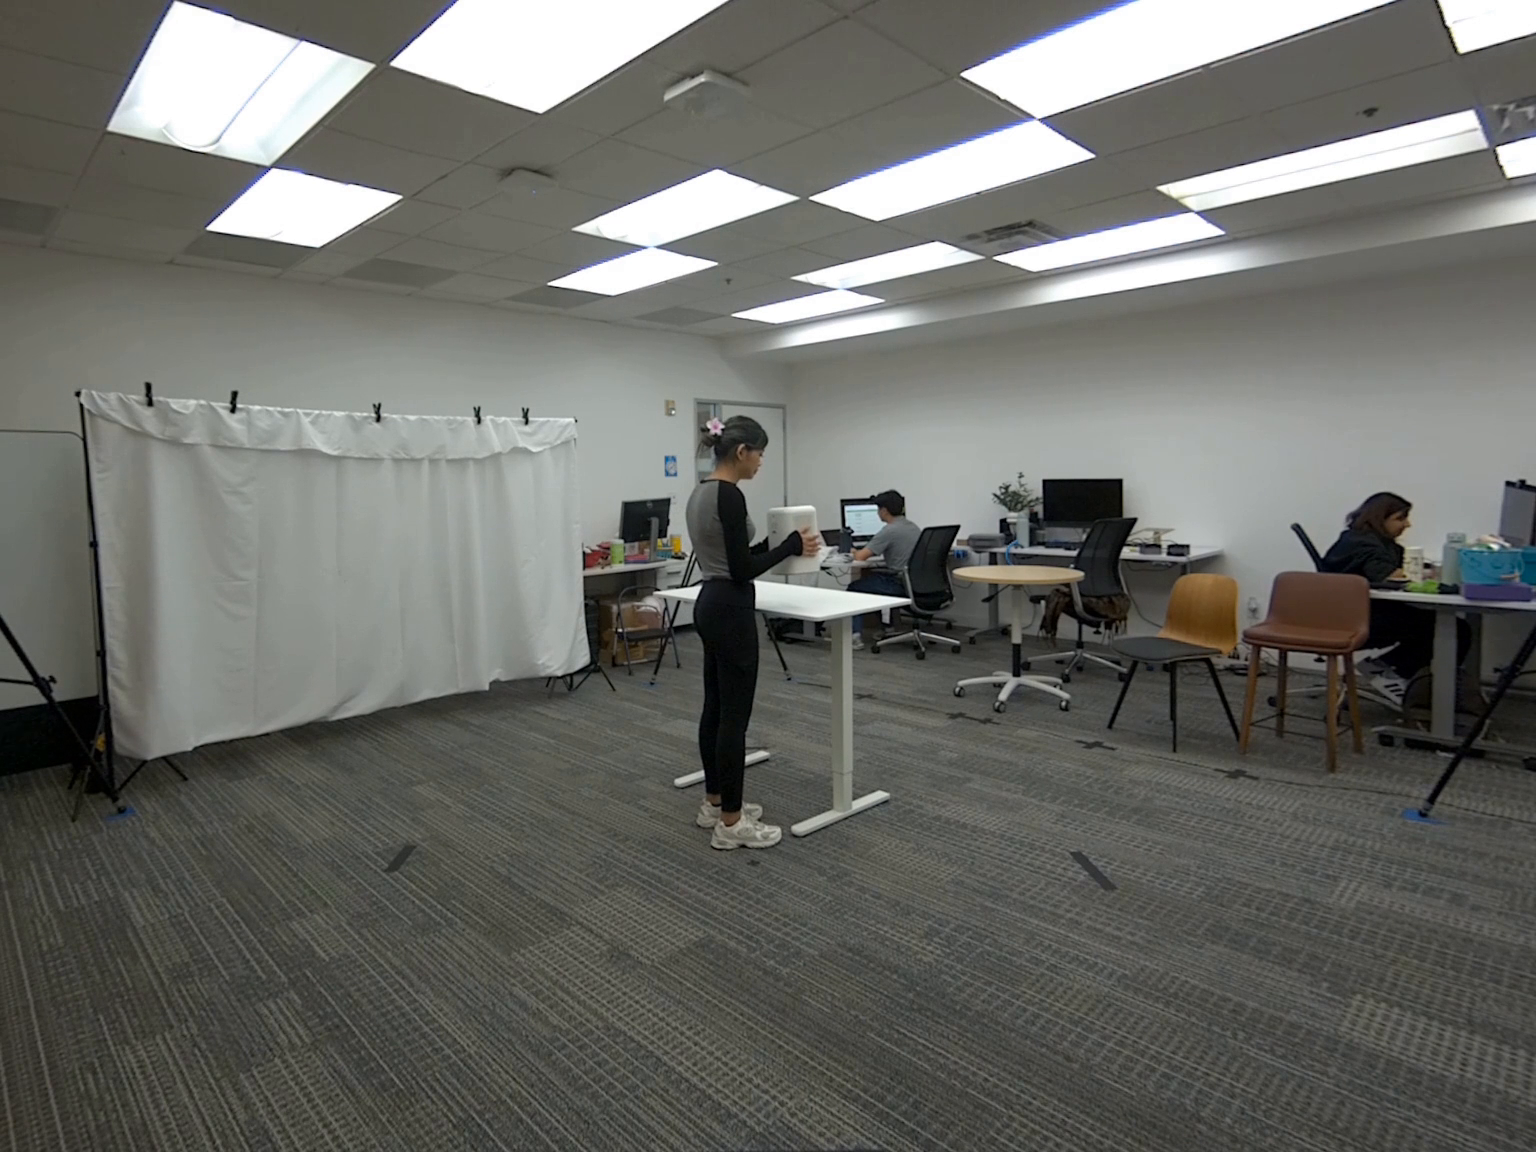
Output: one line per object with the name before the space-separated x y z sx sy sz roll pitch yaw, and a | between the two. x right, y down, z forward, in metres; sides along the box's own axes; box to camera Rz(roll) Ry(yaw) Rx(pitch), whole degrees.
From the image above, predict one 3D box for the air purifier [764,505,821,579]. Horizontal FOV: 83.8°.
air purifier | 0.094 -0.144 3.396 0.168 0.264 0.175 -4 4 -29
